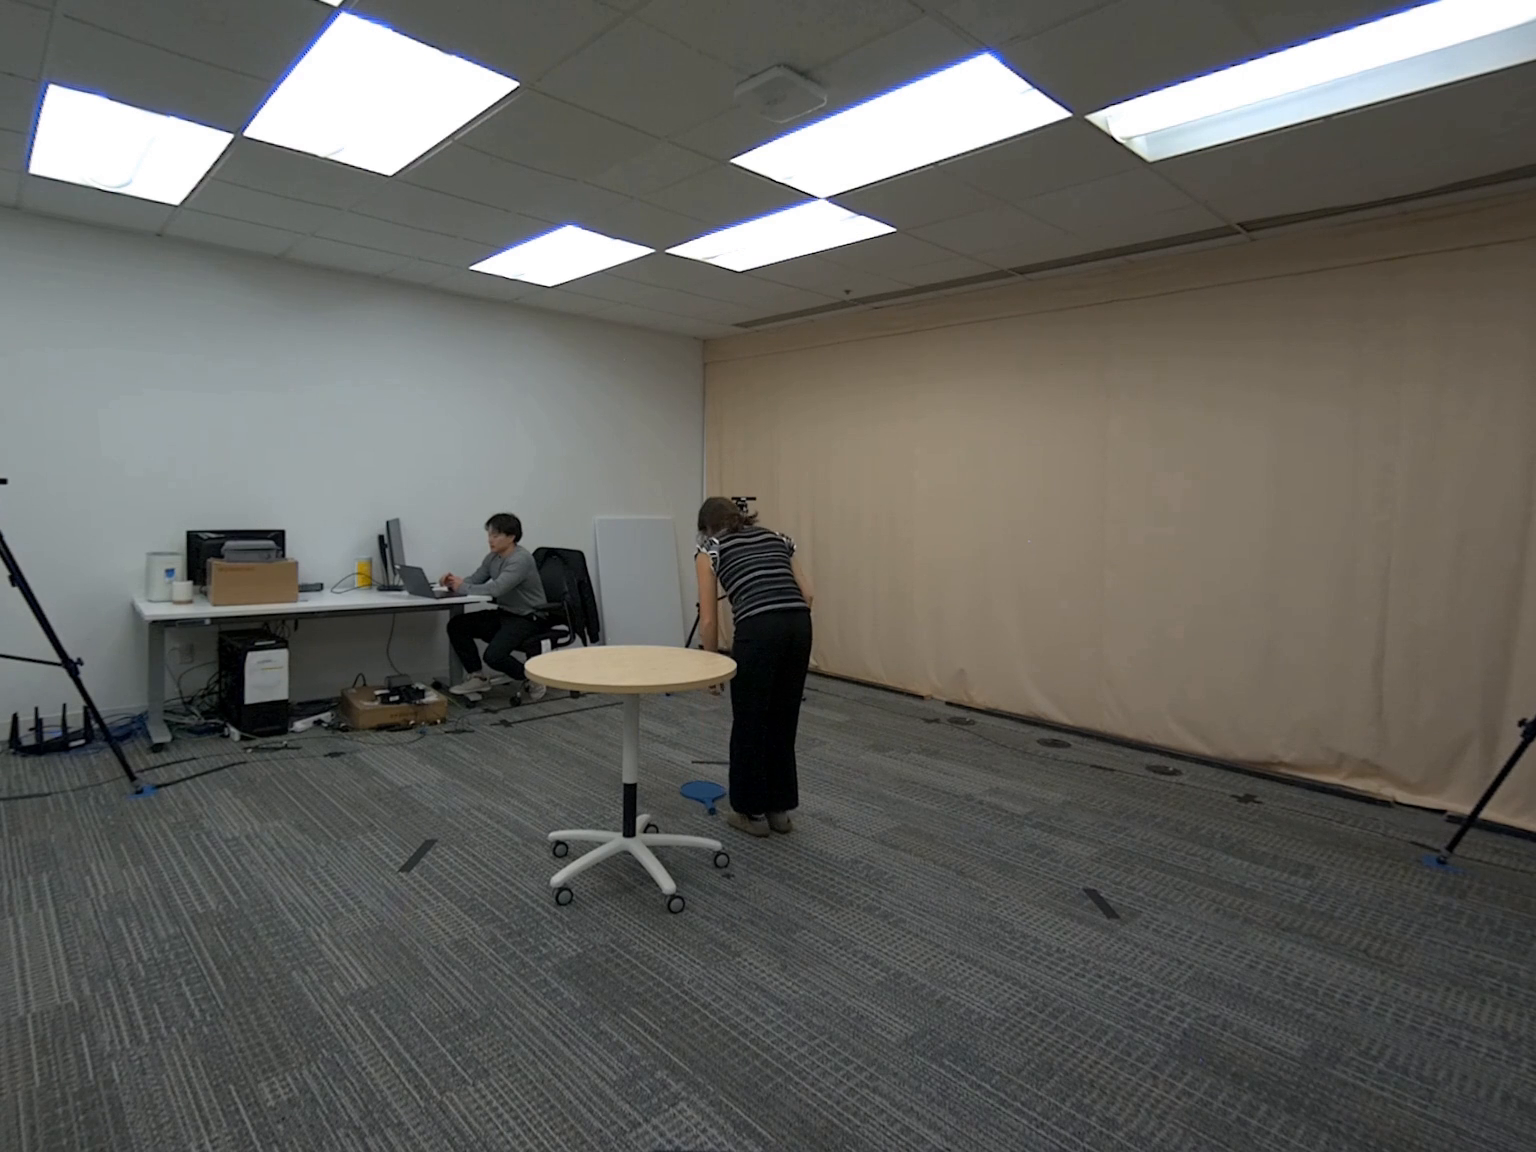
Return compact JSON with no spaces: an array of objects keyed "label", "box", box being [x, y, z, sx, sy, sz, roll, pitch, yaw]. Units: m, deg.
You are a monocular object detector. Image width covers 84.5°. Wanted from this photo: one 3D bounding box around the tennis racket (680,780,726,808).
[{"label":"tennis racket","box":[-0.303,1.021,3.916,0.211,0.032,0.438,1,4,-14]}]
